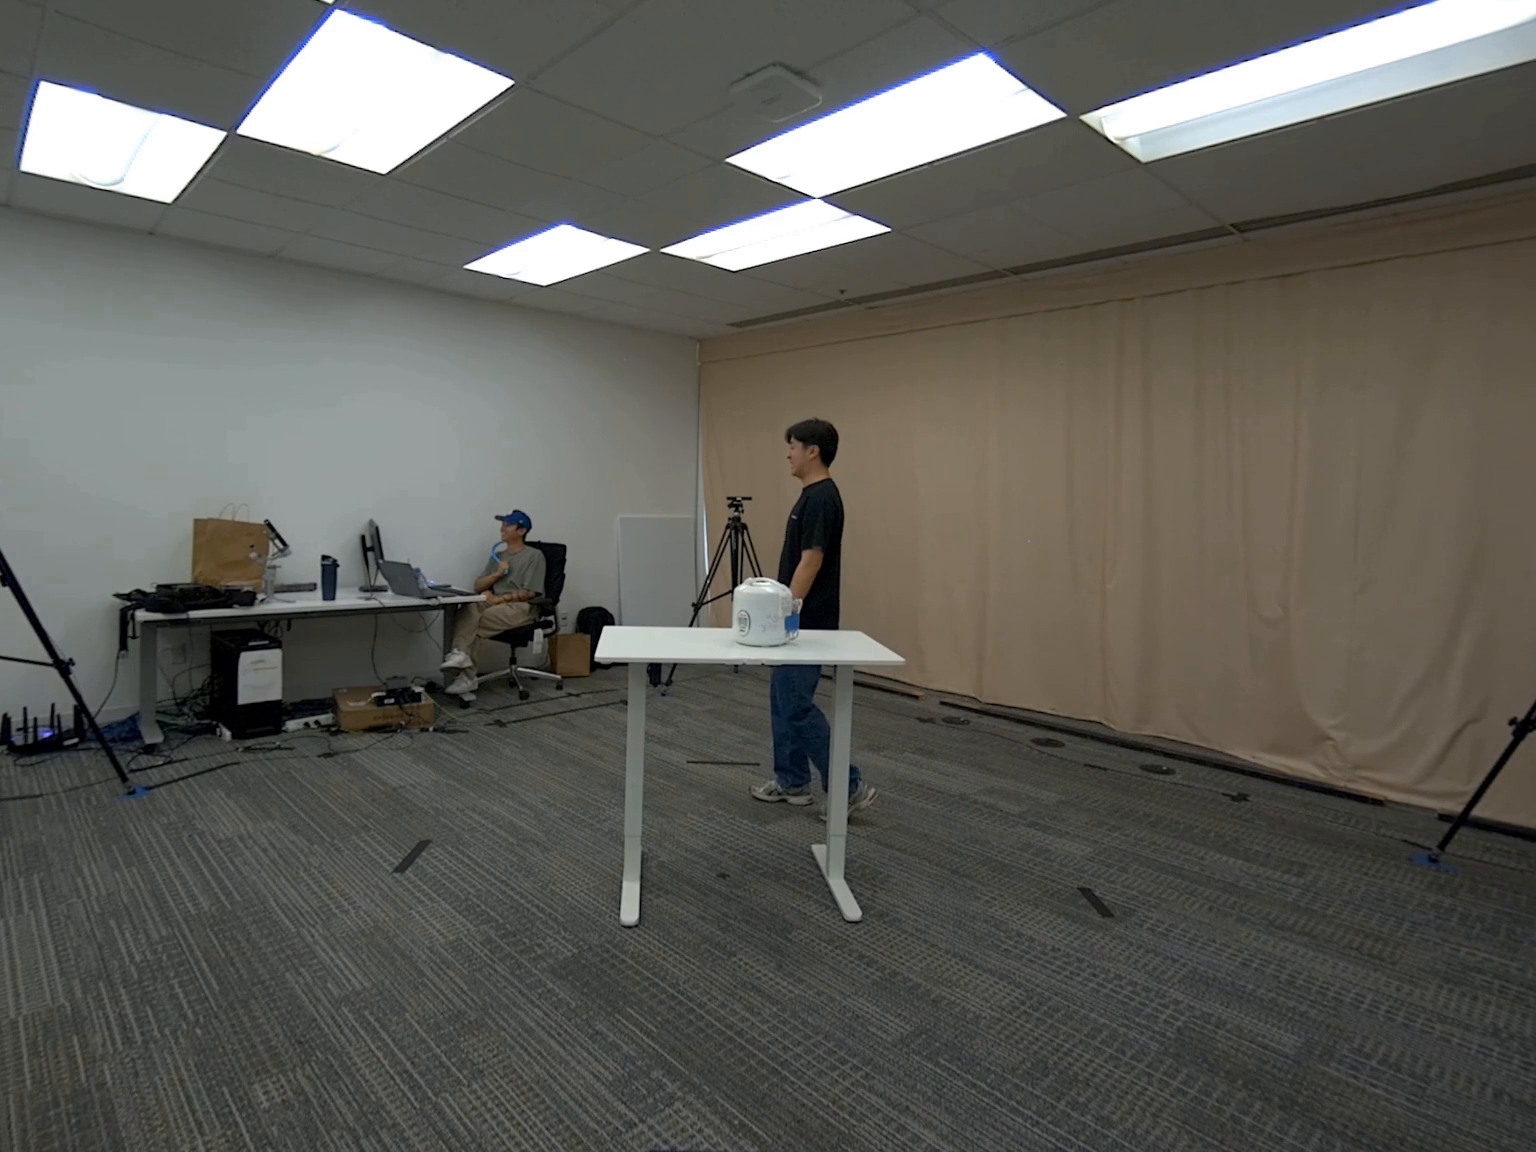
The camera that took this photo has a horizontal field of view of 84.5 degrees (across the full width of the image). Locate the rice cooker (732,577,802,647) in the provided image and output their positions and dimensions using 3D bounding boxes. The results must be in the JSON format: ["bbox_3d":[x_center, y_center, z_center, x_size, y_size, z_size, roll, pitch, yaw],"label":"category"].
[{"bbox_3d":[-0.022,0.125,2.970,0.226,0.232,0.212,5,4,37],"label":"rice cooker"}]
